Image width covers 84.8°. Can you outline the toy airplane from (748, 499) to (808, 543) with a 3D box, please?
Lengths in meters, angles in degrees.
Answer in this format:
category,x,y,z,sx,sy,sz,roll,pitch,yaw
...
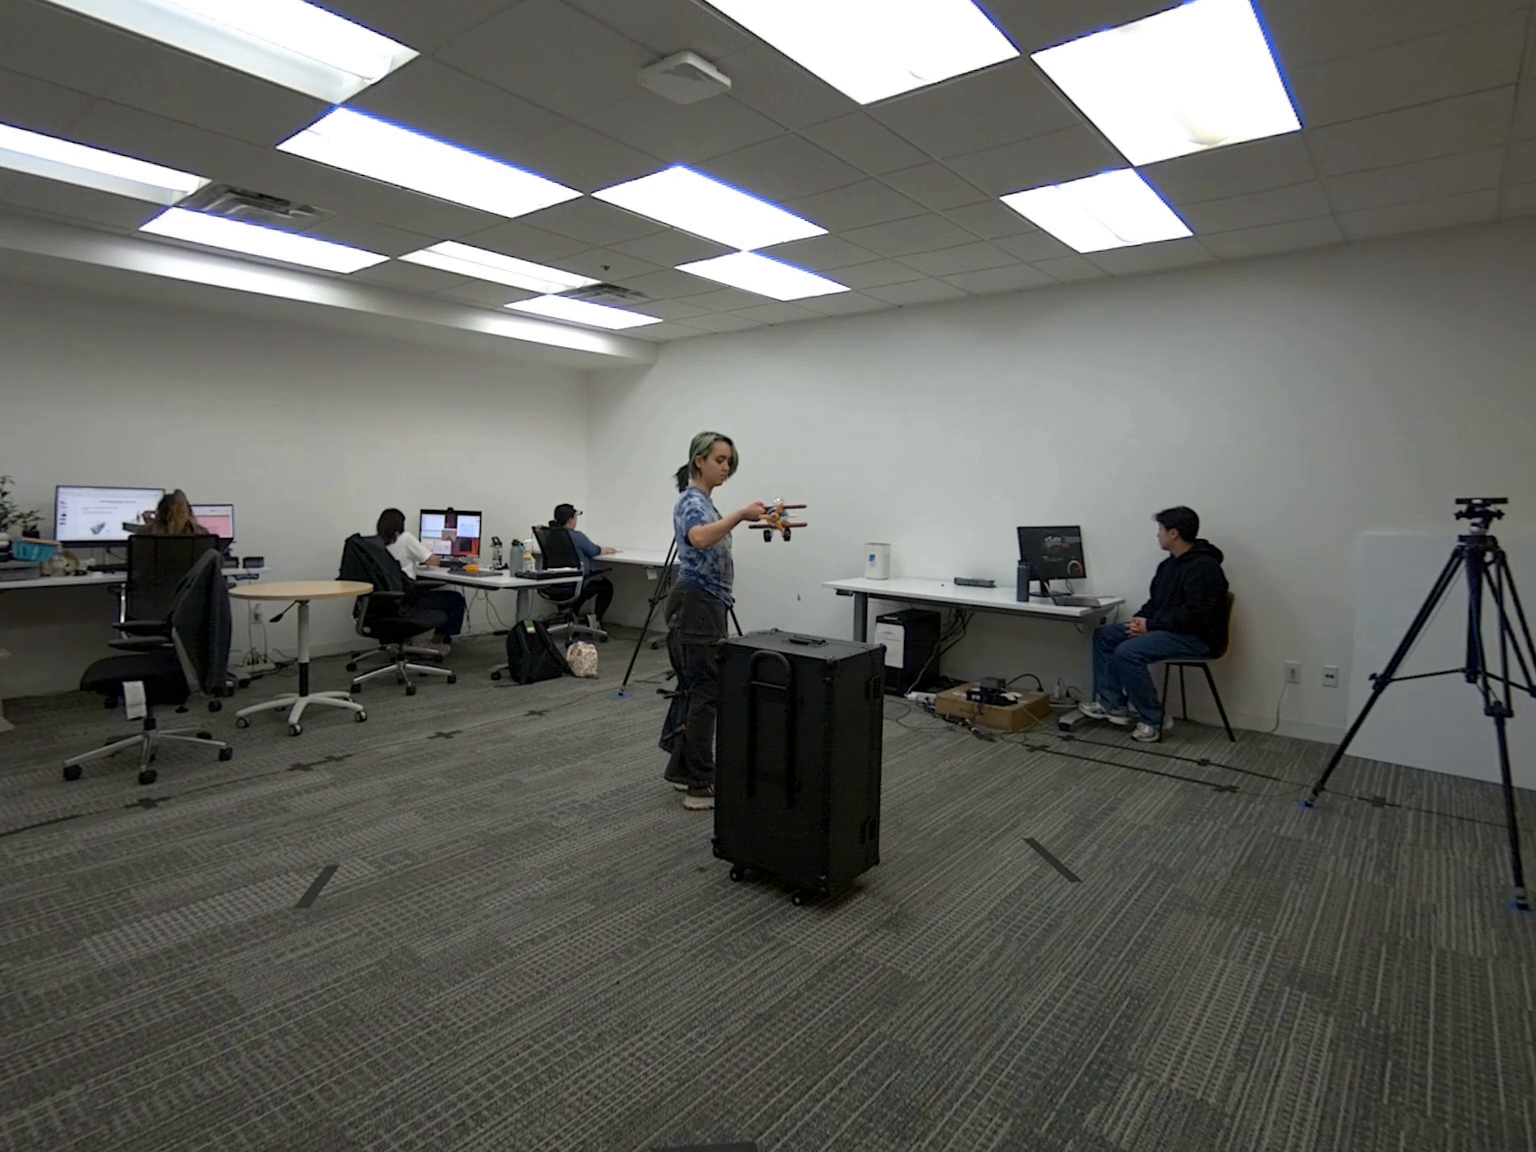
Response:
category,x,y,z,sx,sy,sz,roll,pitch,yaw
toy airplane,0.021,-0.250,3.694,0.248,0.153,0.268,-12,20,-16
